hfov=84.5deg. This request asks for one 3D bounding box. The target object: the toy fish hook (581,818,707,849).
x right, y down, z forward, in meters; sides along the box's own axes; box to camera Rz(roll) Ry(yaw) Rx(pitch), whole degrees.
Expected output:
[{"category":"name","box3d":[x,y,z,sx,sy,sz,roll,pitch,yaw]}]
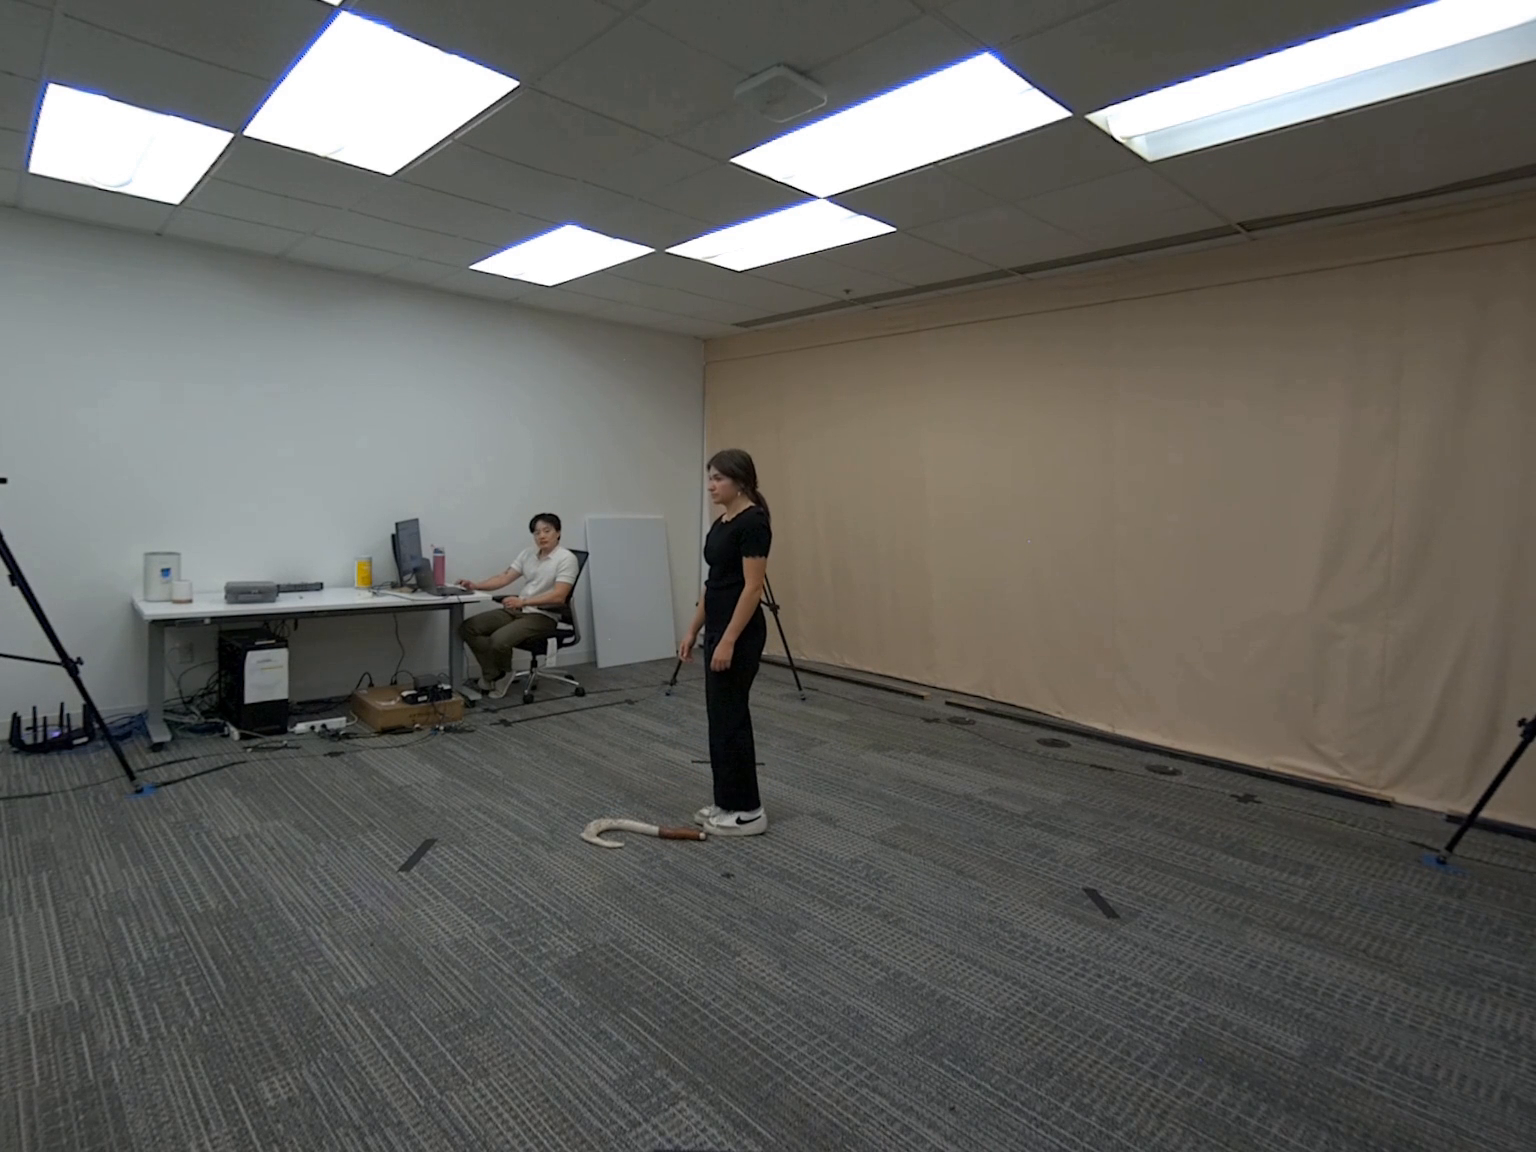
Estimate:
[{"category":"toy fish hook","box3d":[-0.506,1.052,3.406,0.510,0.048,0.225,1,13,9]}]
